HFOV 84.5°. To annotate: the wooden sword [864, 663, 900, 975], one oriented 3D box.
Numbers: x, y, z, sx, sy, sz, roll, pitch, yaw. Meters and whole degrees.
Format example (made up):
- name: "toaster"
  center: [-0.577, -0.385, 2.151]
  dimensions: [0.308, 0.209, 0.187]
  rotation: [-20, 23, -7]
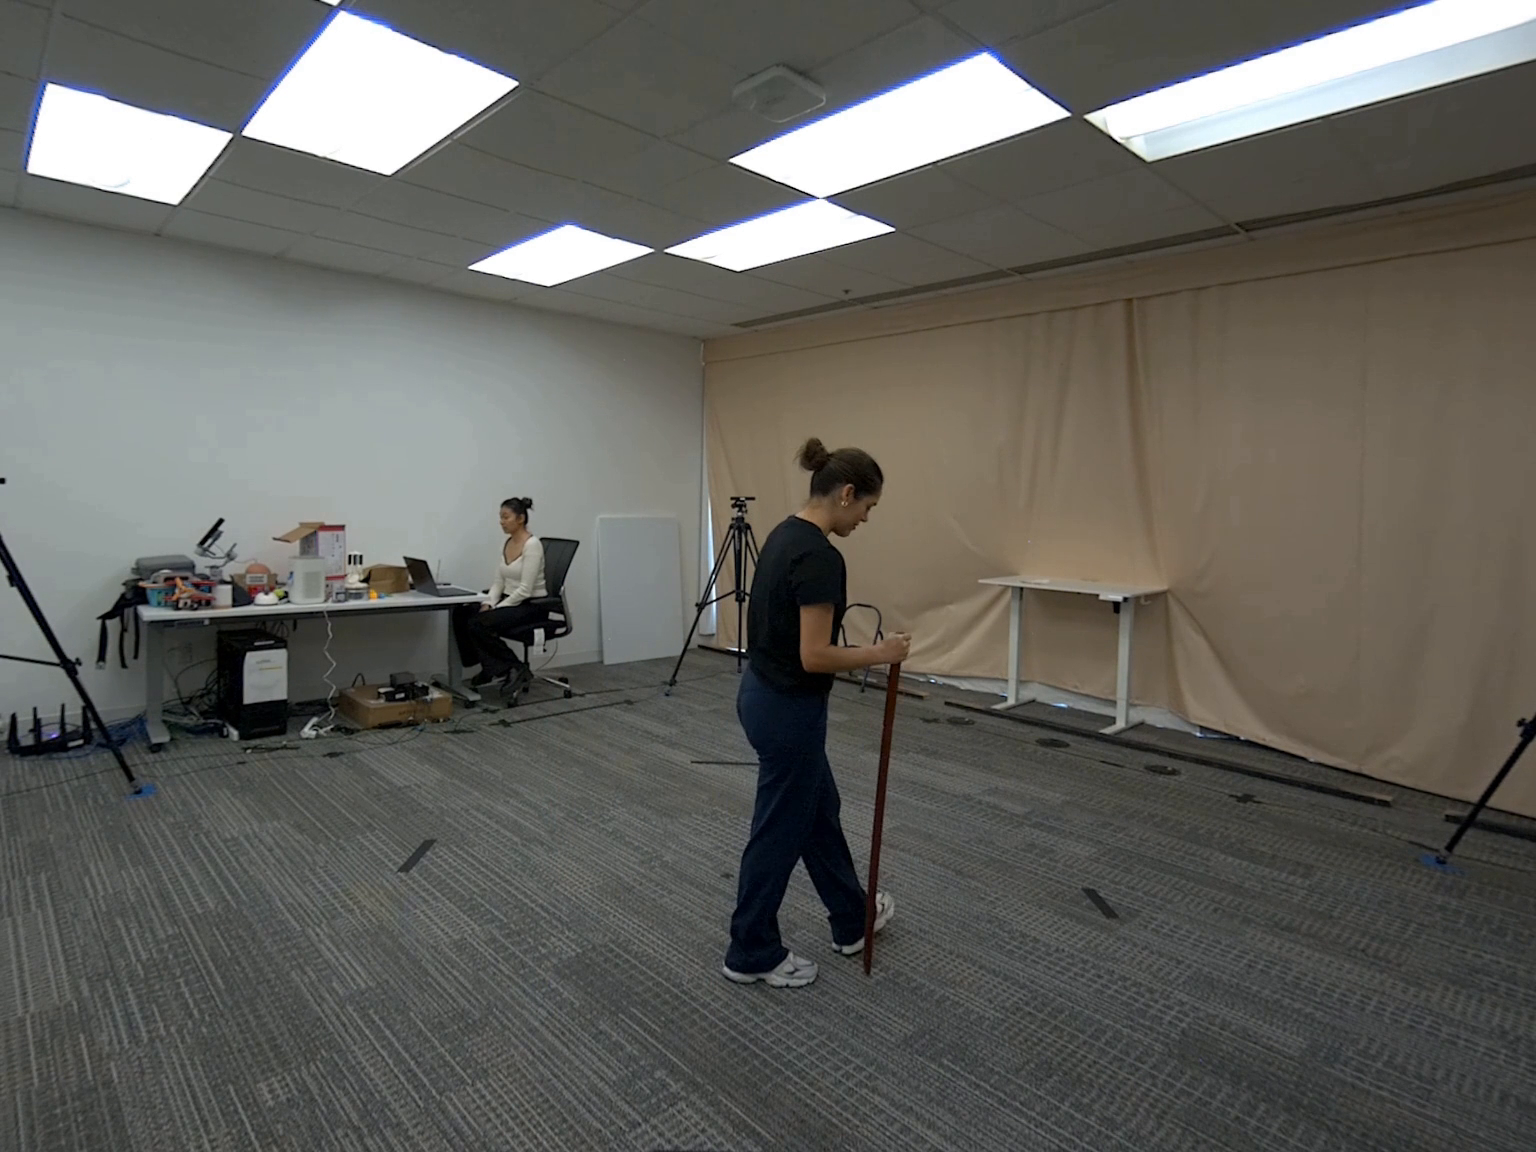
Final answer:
- name: "wooden sword"
  center: [0.322, 0.690, 2.394]
  dimensions: [0.024, 1.021, 0.052]
  rotation: [2, 6, -21]
